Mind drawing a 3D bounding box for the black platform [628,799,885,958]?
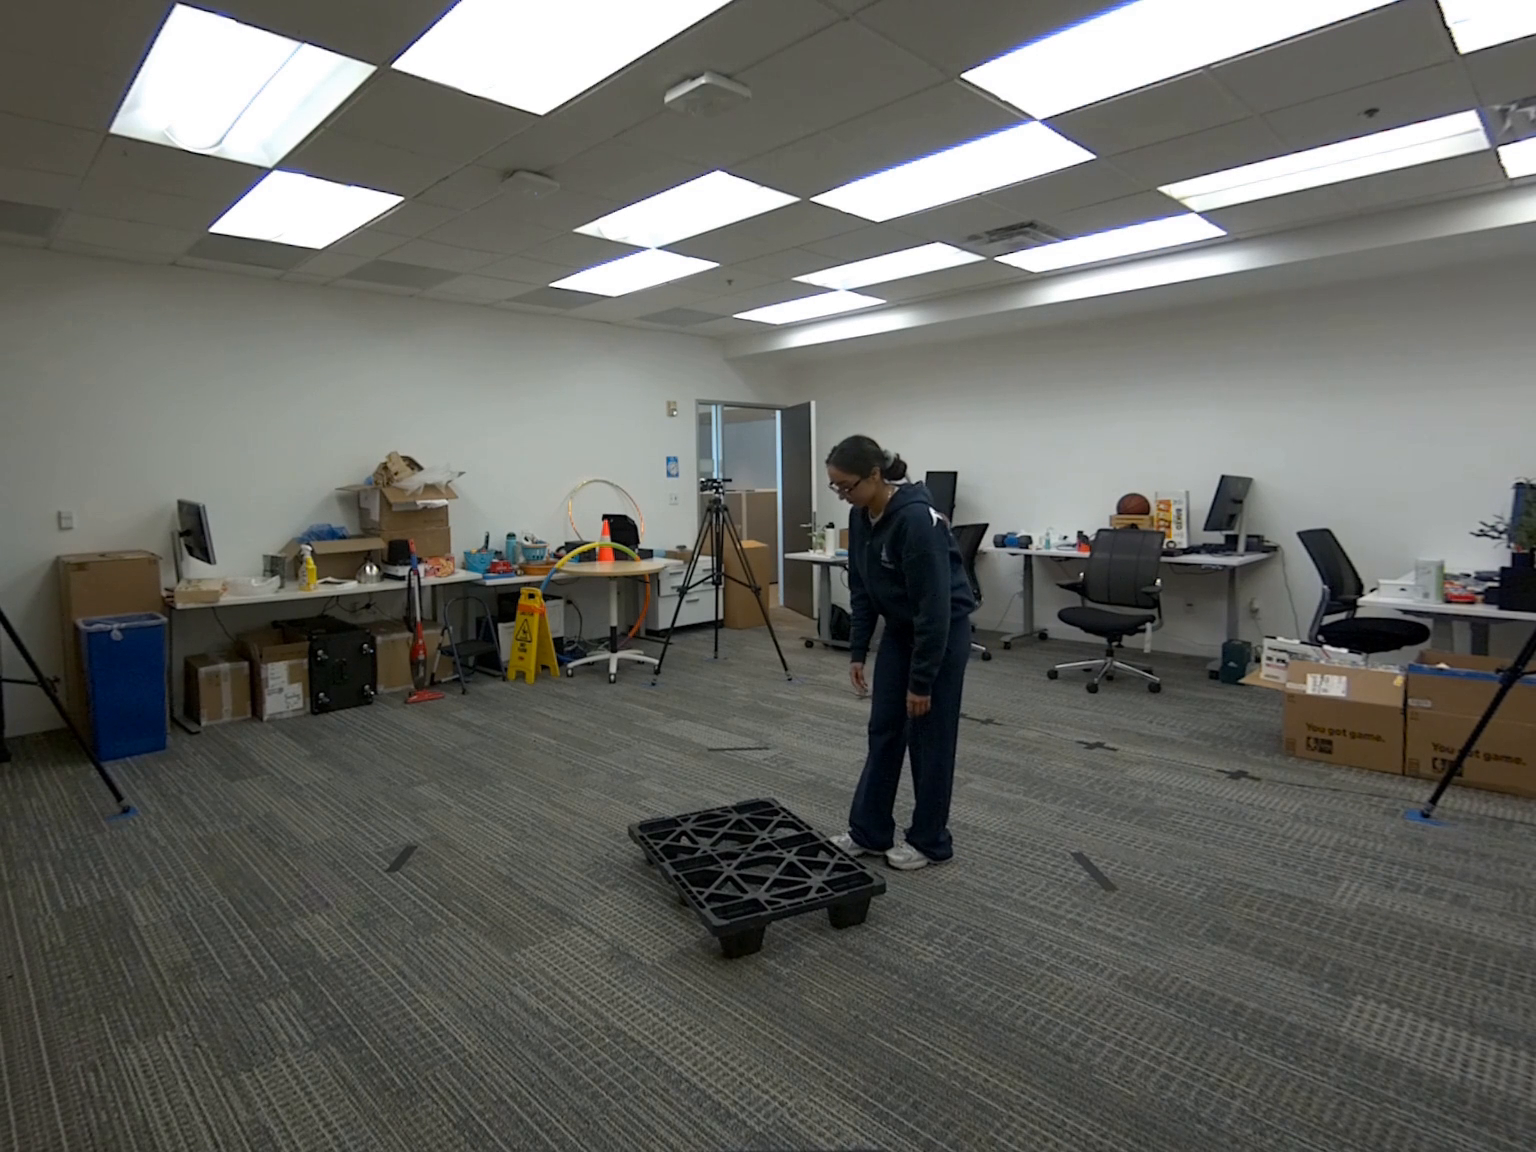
[{"bbox_3d":[-0.071,1.002,2.907,0.593,0.142,0.826,-5,7,-26],"label":"black platform"}]
